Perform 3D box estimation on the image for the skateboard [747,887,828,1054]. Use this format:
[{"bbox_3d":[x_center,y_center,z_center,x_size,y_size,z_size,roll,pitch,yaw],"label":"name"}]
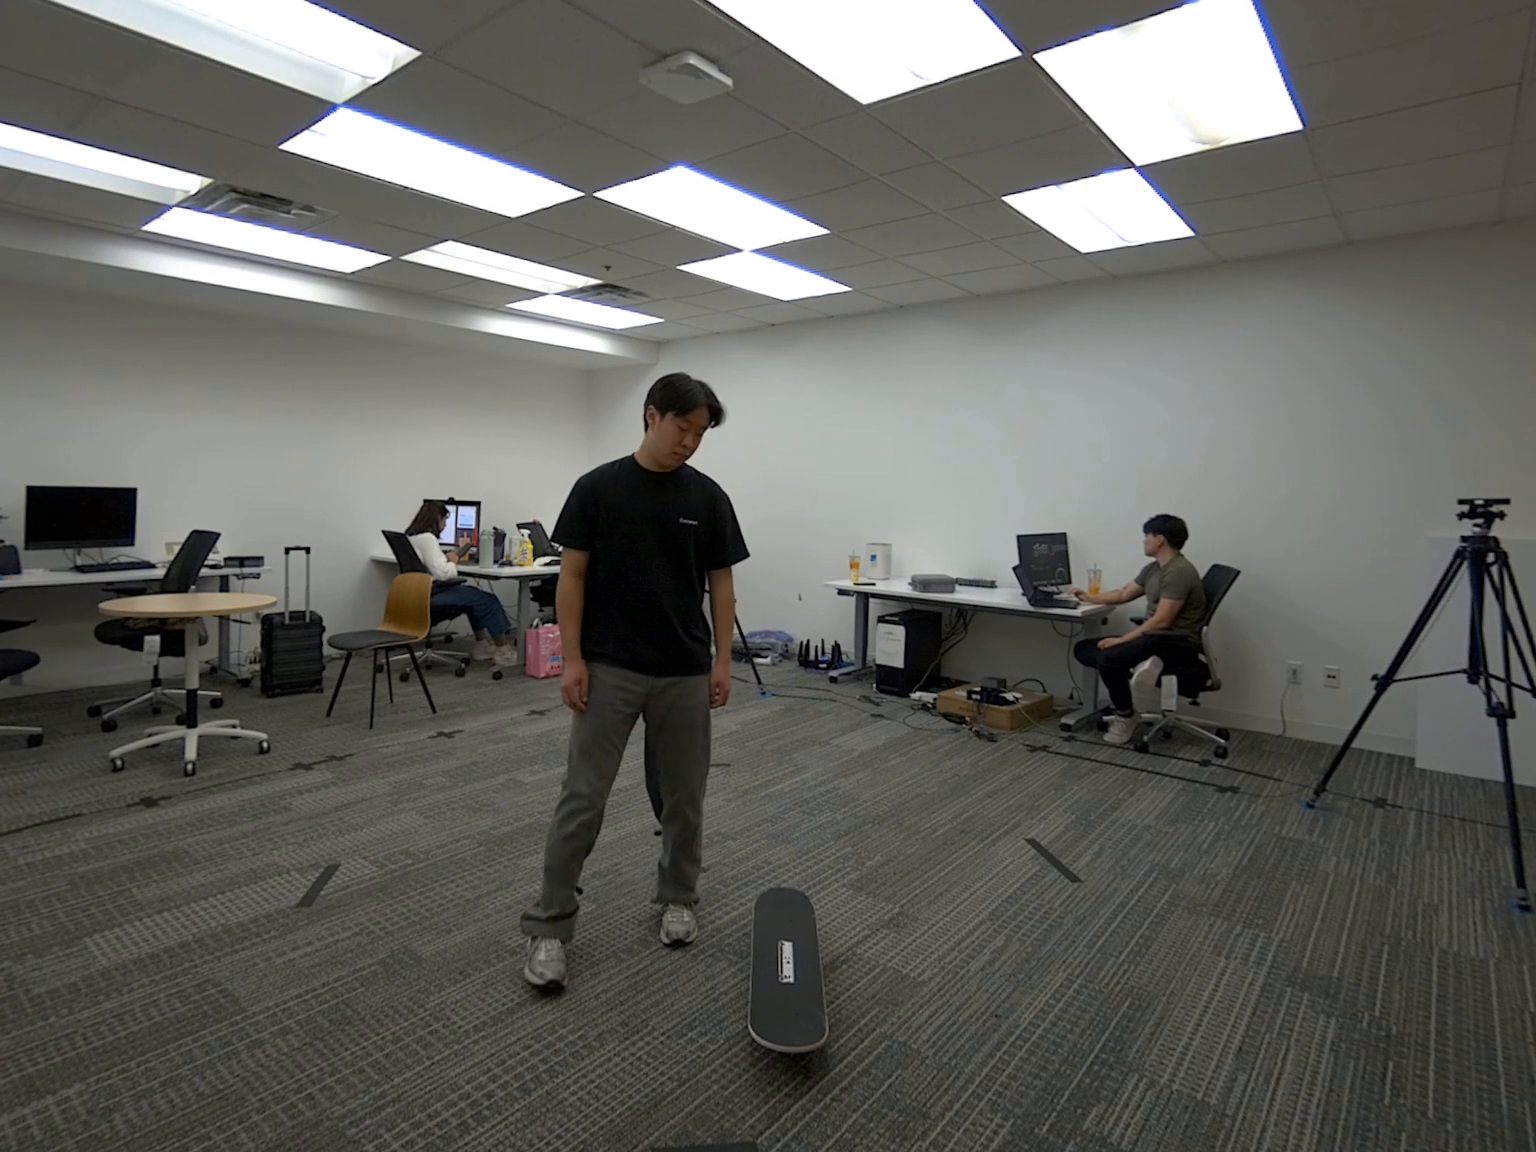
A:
[{"bbox_3d":[0.044,1.091,2.357,0.194,0.110,0.787,2,6,0],"label":"skateboard"}]
